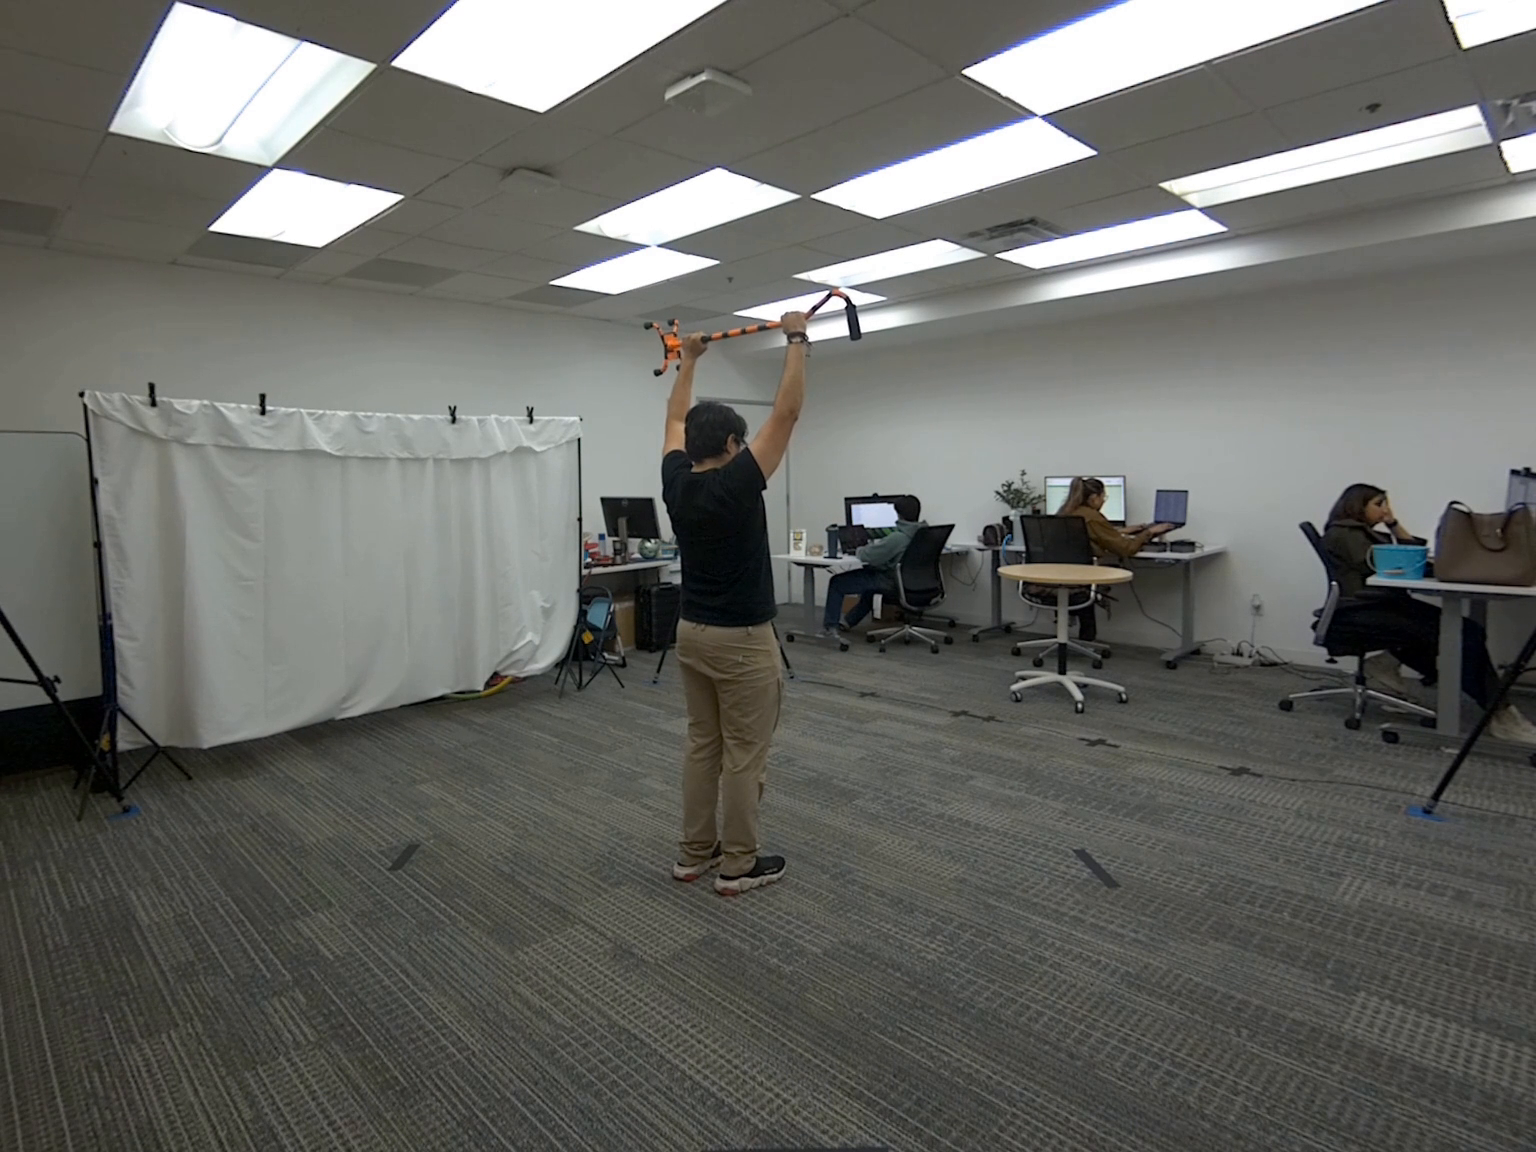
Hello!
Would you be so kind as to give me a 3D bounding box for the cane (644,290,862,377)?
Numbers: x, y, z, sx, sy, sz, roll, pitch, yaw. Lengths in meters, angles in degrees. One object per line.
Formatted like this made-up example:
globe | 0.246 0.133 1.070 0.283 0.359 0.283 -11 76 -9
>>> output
cane | -0.066 -0.859 2.973 0.936 0.203 0.149 4 21 43
